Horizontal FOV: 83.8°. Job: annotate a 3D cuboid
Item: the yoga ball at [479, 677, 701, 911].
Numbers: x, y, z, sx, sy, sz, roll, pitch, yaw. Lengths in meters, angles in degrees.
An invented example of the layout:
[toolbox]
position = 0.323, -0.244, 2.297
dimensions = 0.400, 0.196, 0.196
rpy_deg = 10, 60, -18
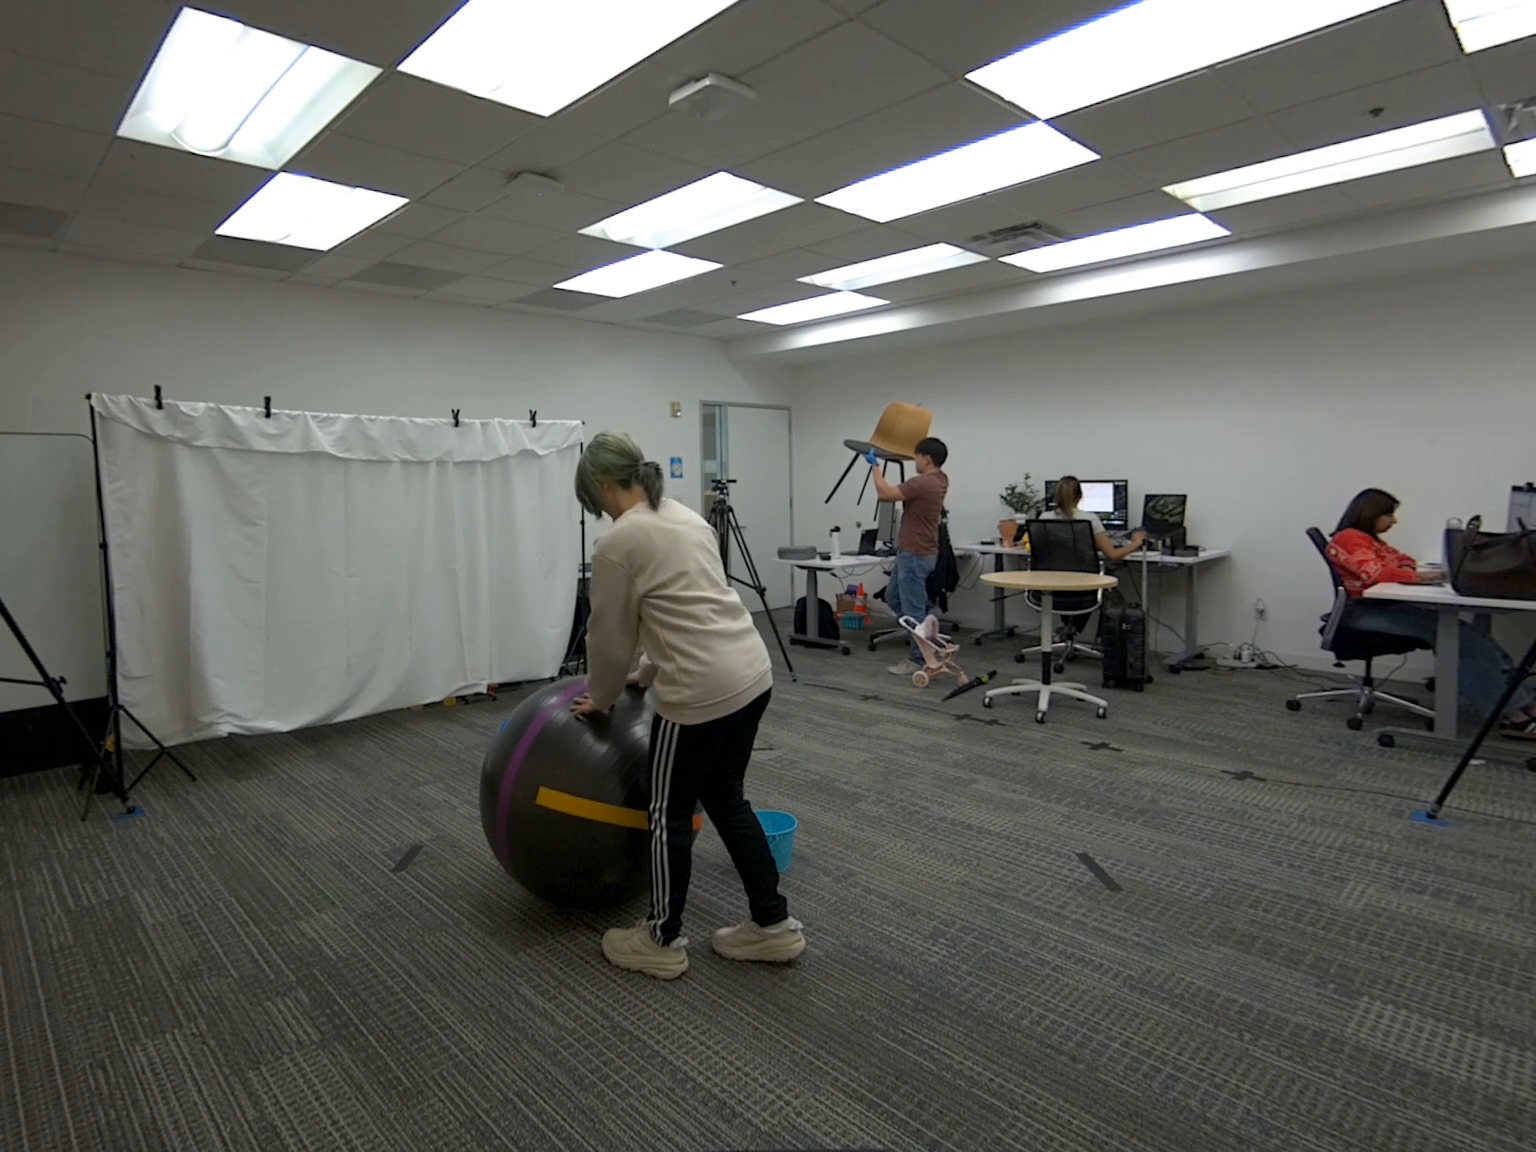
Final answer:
[yoga ball]
position = -0.588, 0.720, 2.882
dimensions = 0.757, 0.755, 0.762
rpy_deg = -1, 5, -2
